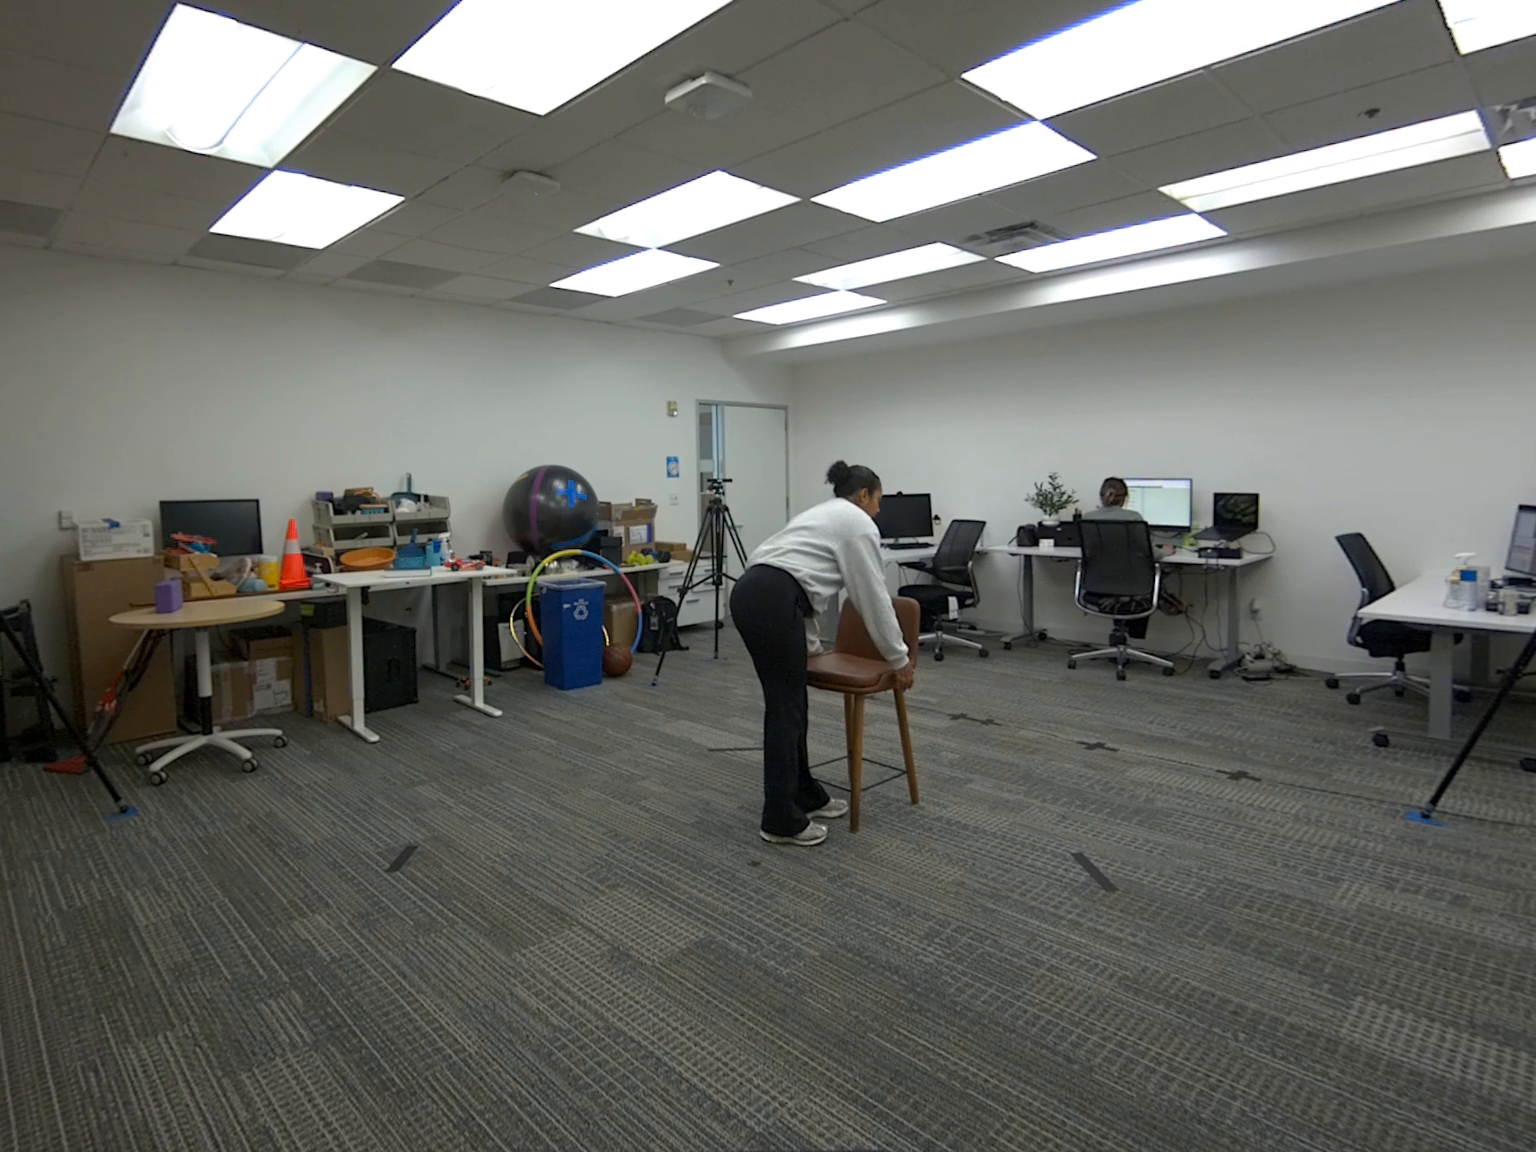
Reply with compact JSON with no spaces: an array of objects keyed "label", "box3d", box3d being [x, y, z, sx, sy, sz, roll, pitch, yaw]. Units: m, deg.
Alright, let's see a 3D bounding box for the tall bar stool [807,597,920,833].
[{"label":"tall bar stool","box3d":[0.371,0.541,3.638,0.454,0.888,0.471,-1,4,-43]}]
